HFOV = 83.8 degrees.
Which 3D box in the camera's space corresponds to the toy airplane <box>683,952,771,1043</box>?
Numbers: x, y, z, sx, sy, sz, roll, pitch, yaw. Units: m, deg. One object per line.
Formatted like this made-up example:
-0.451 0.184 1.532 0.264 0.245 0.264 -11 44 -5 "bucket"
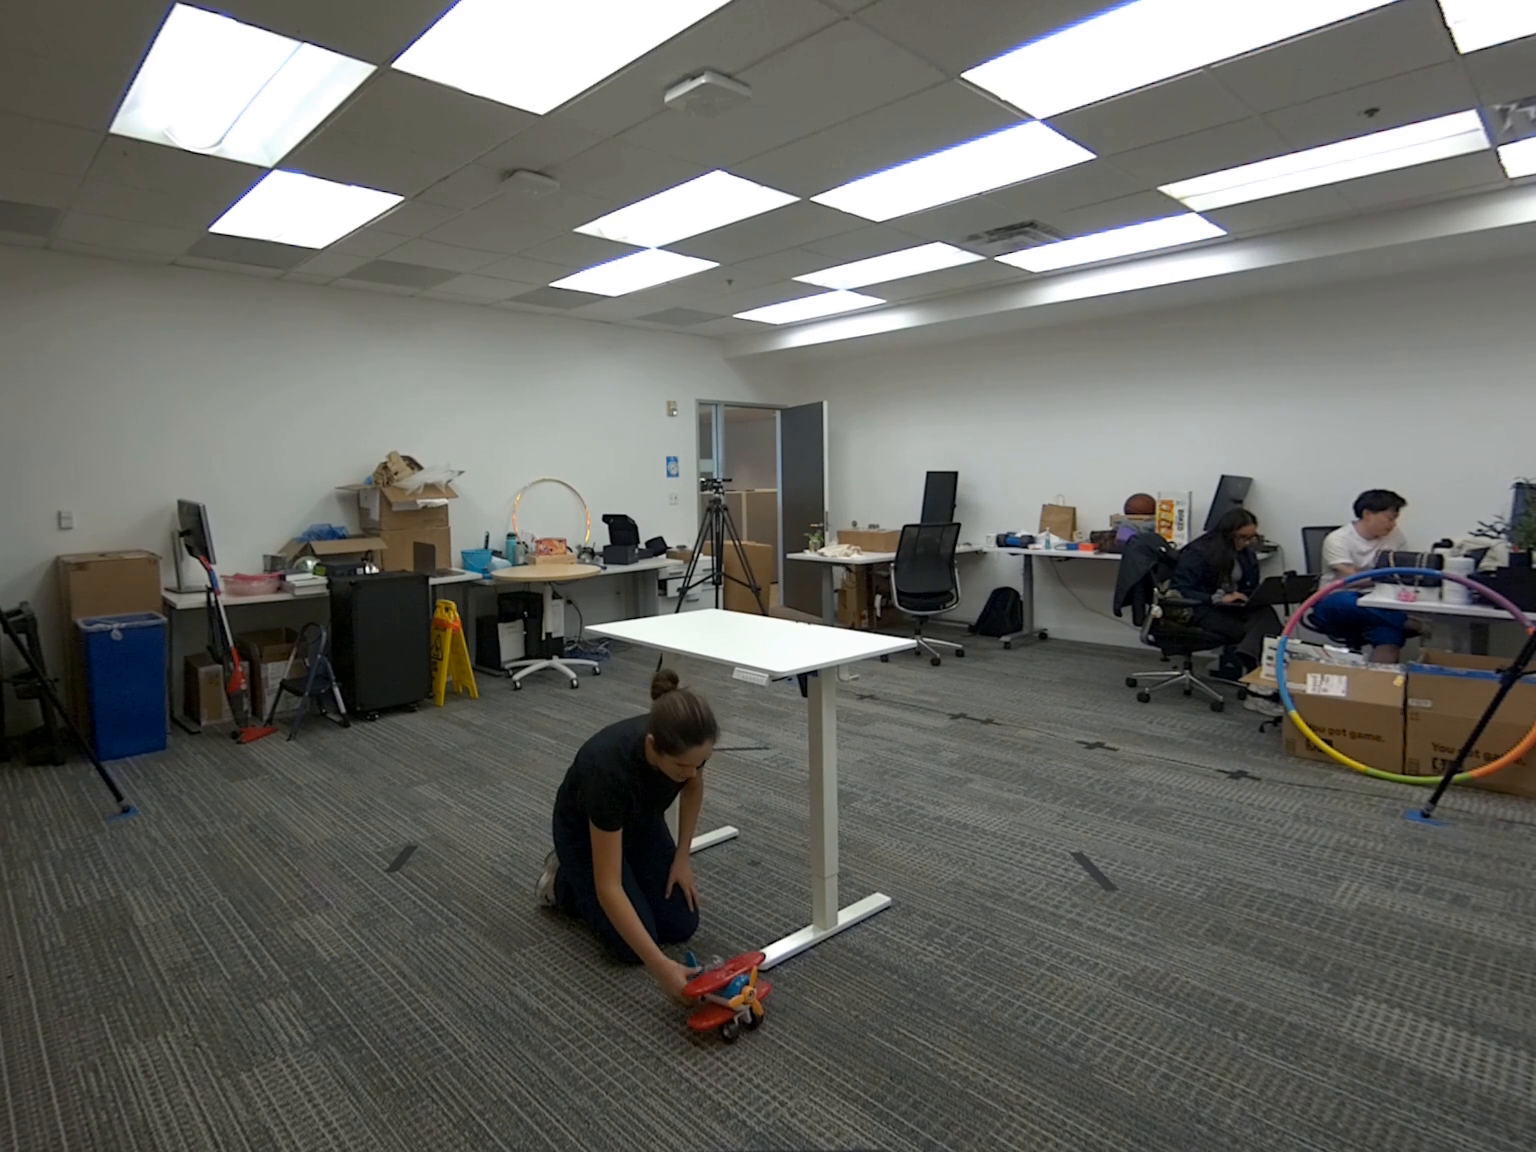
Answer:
-0.132 1.079 2.209 0.264 0.155 0.248 2 7 19 "toy airplane"
